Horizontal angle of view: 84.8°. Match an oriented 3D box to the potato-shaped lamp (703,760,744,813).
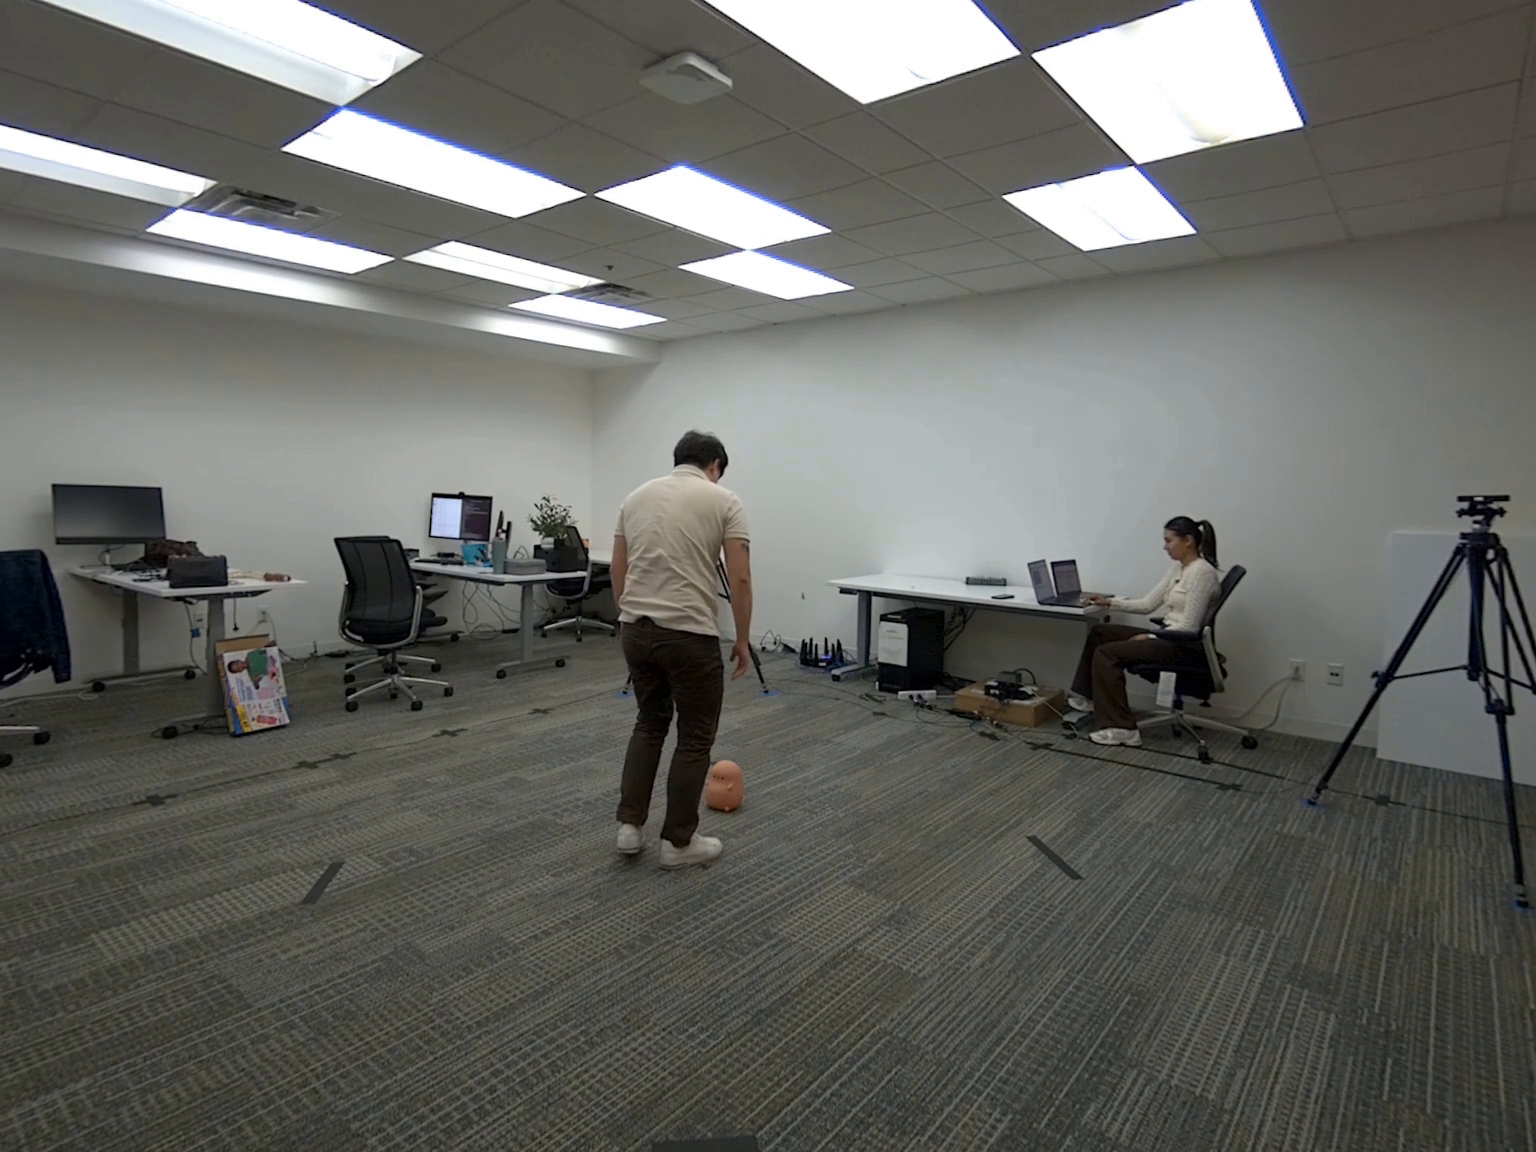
[{"bbox_3d":[-0.200,0.905,3.723,0.170,0.197,0.166,3,4,34],"label":"potato-shaped lamp"}]
